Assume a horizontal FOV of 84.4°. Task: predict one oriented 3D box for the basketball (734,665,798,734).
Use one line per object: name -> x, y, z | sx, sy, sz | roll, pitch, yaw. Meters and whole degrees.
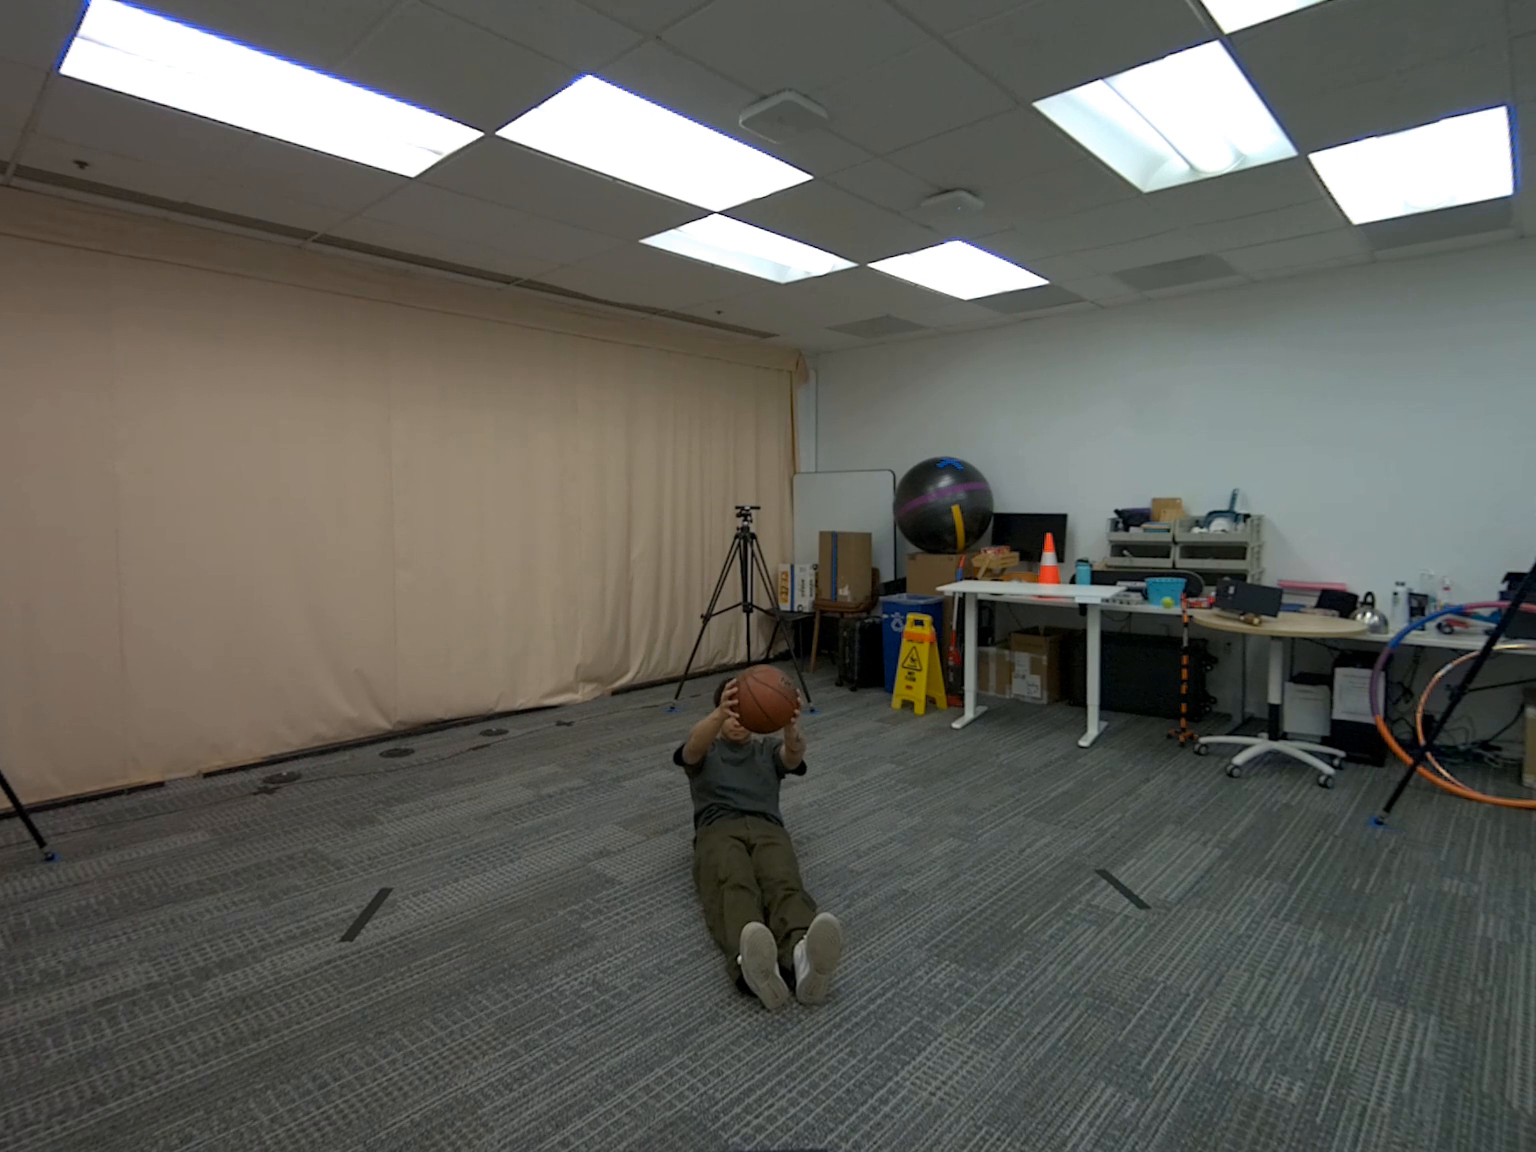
basketball -> -0.020, 0.435, 2.938 | 0.236, 0.235, 0.237 | 0, 4, -2
